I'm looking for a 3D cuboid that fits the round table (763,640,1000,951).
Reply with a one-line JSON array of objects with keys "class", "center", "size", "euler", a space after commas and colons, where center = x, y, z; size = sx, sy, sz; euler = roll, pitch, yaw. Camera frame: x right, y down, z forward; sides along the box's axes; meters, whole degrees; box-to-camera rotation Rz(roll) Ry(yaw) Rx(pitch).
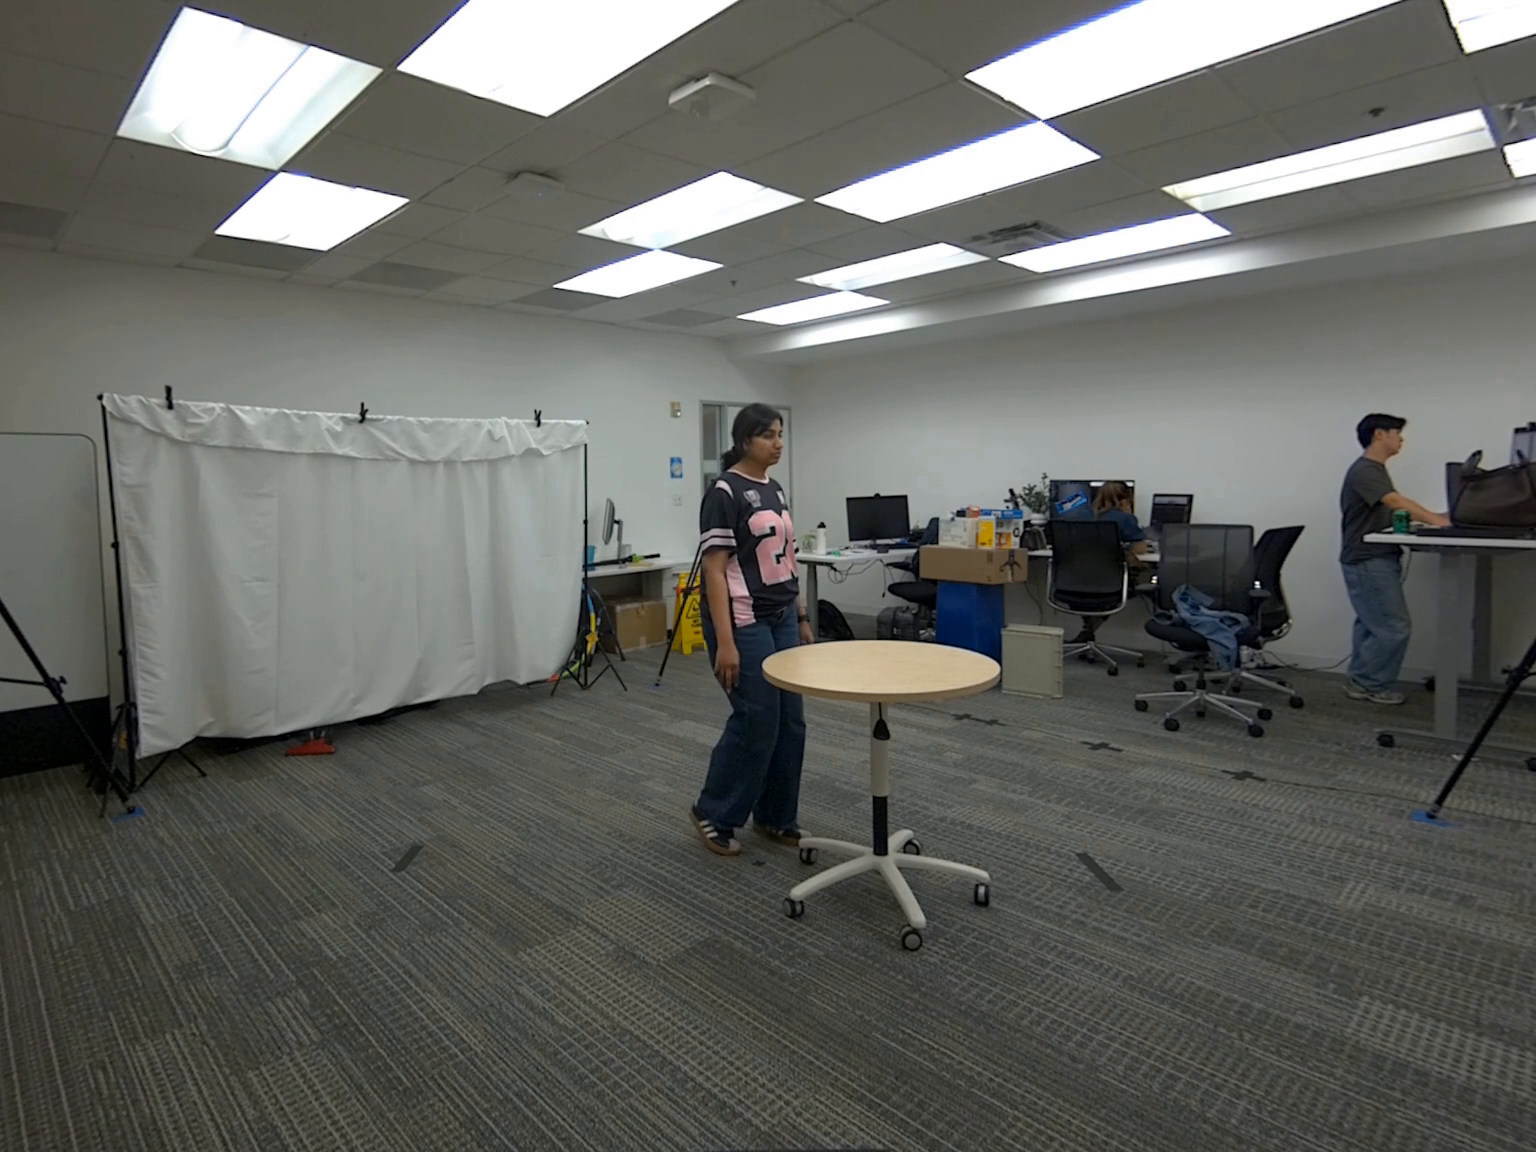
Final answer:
[{"class": "round table", "center": [0.371, 0.675, 2.851], "size": [0.784, 0.783, 0.790], "euler": [-1, 6, -2]}]
